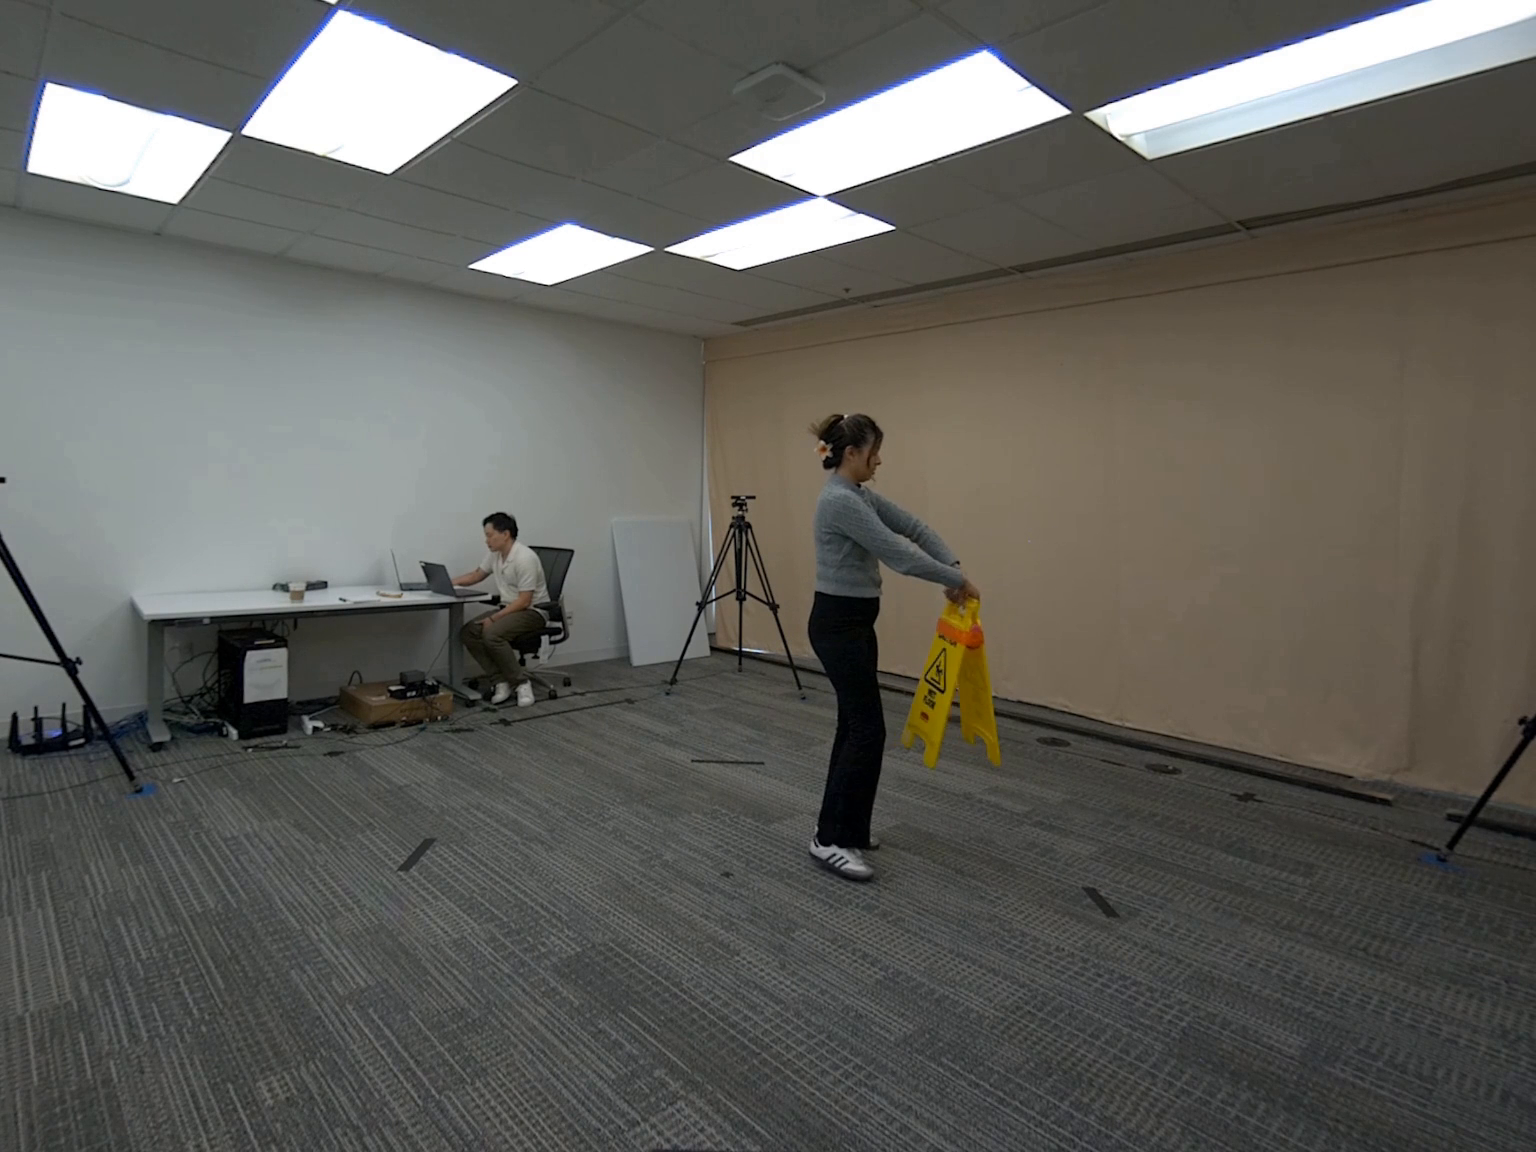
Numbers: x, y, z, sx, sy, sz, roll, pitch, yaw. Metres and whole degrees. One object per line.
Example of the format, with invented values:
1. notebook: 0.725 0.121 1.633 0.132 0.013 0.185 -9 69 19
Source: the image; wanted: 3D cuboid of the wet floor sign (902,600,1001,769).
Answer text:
1. wet floor sign: 0.721 0.386 3.273 0.286 0.642 0.287 1 8 -14
